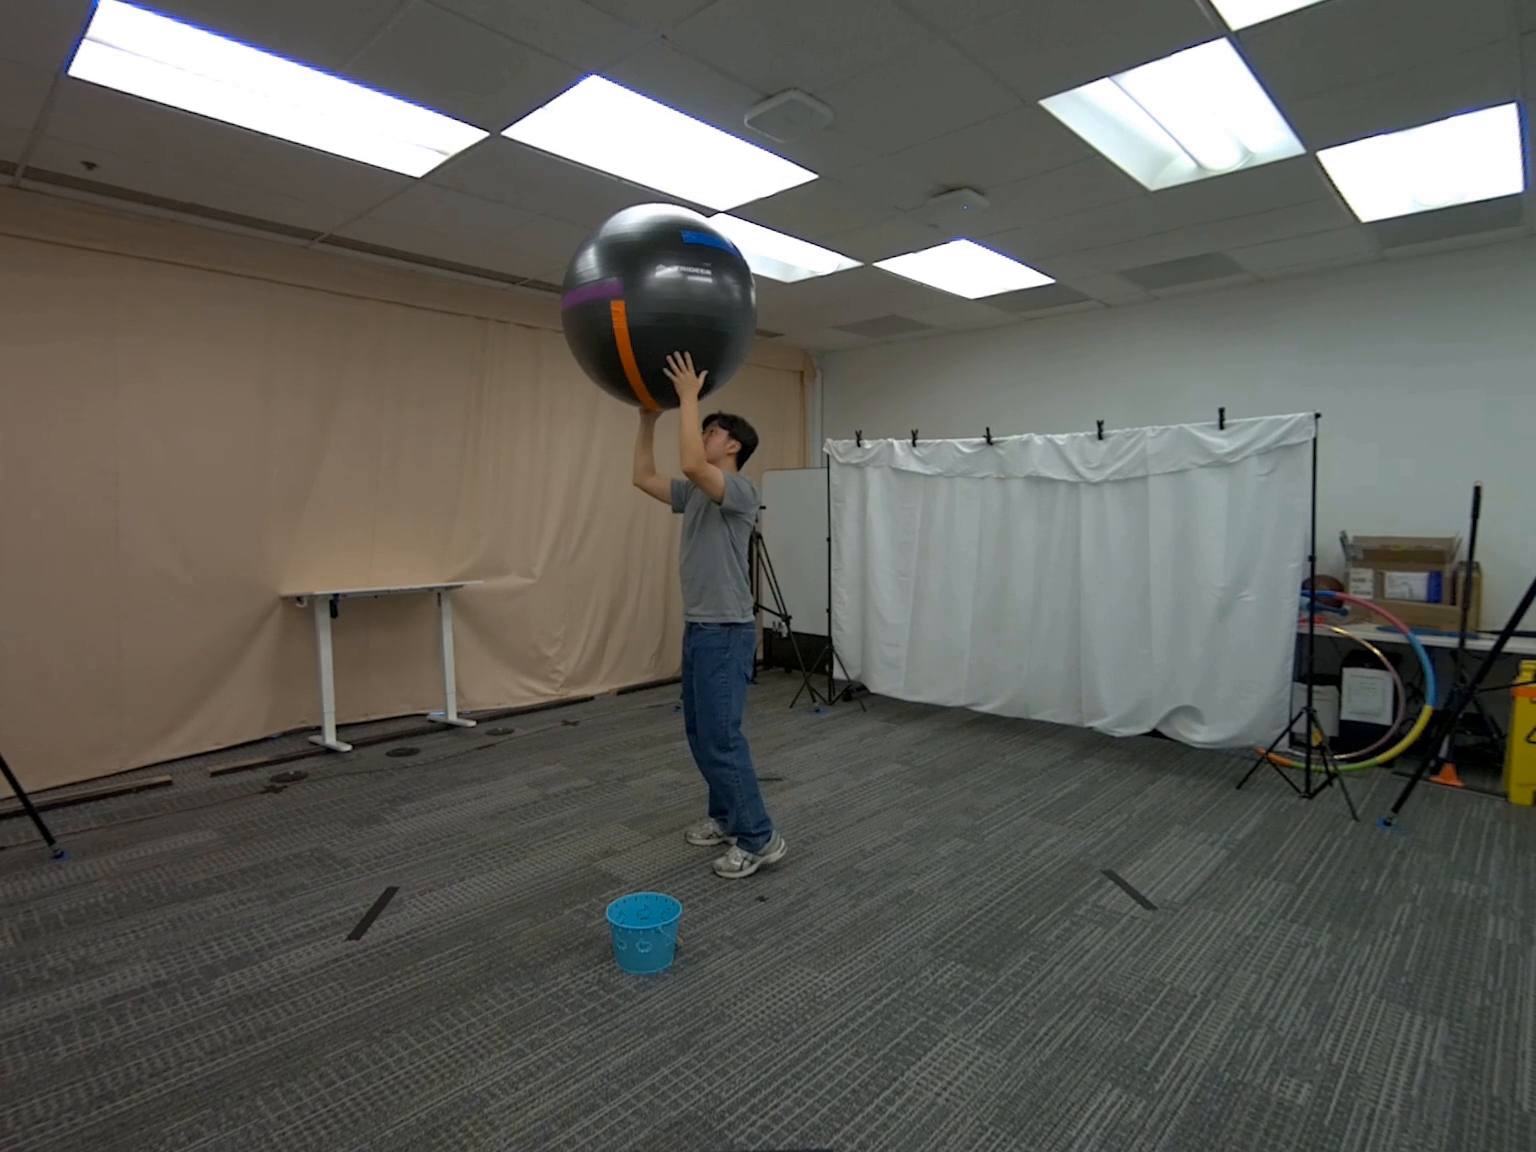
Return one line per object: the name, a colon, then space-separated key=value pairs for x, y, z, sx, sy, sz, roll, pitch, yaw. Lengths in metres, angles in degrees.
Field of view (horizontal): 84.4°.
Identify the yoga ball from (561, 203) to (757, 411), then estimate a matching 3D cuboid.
yoga ball: x=-0.422 y=-1.031 z=3.261 sx=0.757 sy=0.756 sz=0.761 roll=0 pitch=4 yaw=-2
